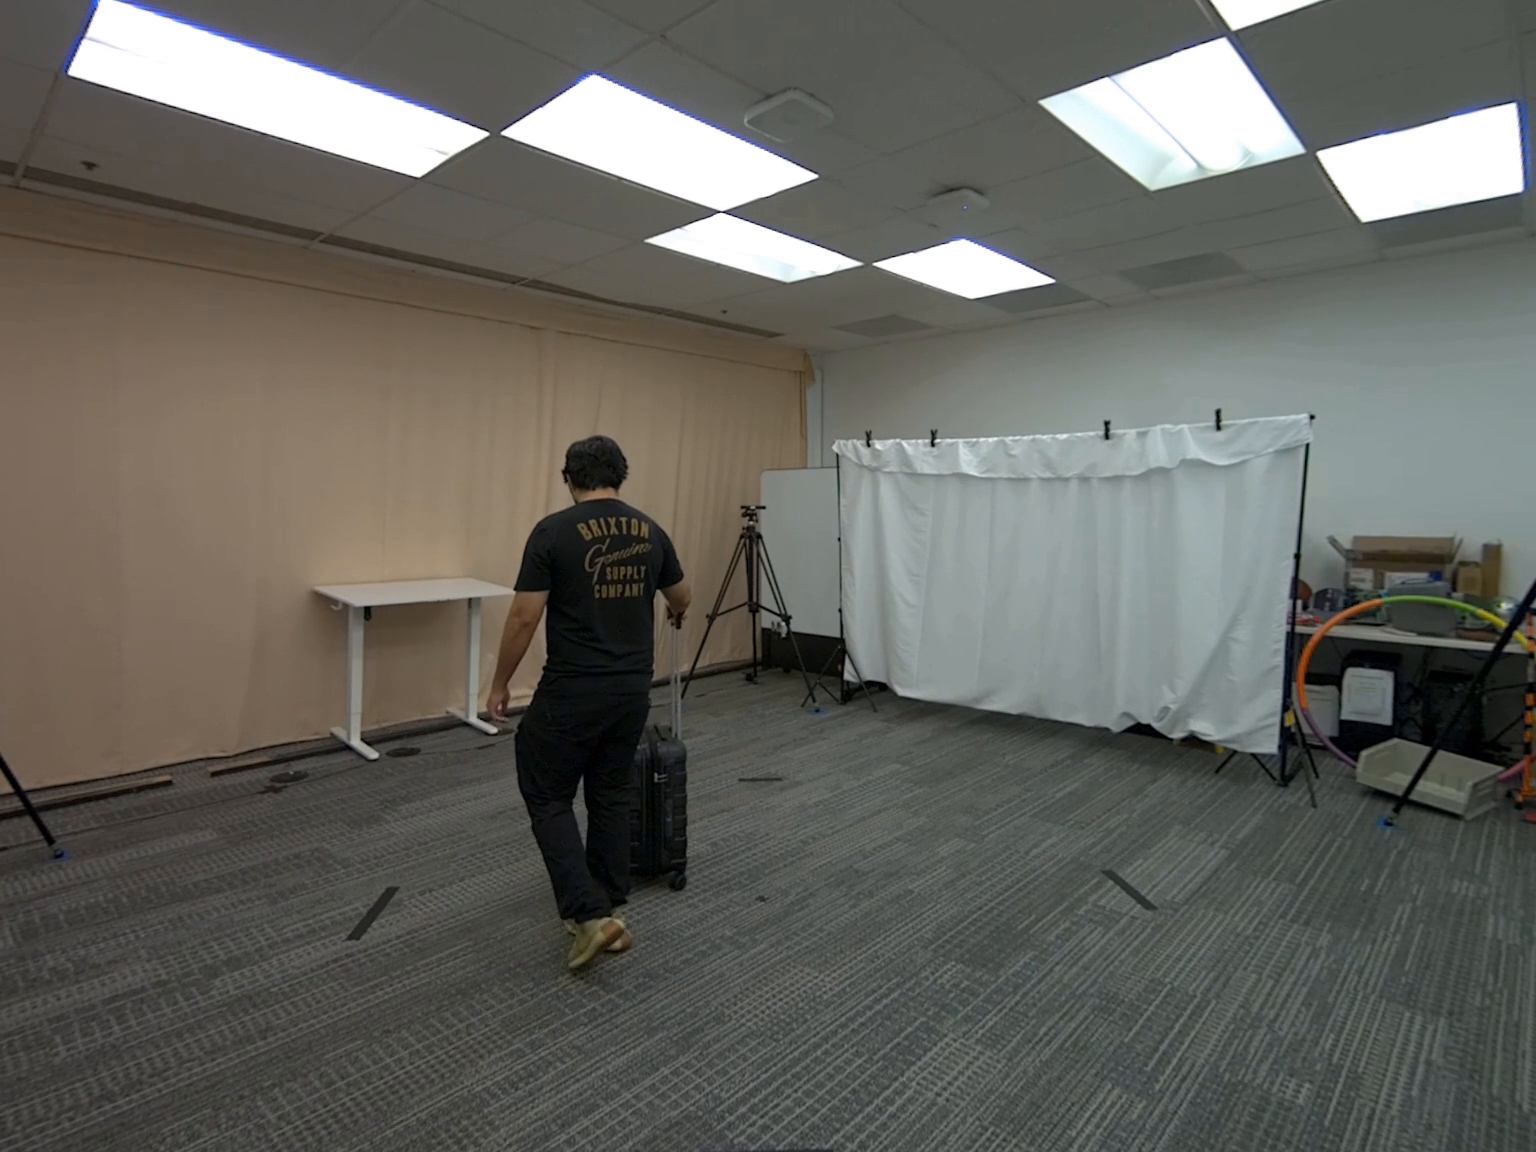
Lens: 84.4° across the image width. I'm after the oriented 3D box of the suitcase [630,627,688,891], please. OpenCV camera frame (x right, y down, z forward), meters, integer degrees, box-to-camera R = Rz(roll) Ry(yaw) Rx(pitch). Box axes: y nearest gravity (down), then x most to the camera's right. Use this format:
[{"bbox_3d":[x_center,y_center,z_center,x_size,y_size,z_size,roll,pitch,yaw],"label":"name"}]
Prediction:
[{"bbox_3d":[-0.448,0.652,3.178,0.254,0.977,0.389,-3,2,-11],"label":"suitcase"}]
